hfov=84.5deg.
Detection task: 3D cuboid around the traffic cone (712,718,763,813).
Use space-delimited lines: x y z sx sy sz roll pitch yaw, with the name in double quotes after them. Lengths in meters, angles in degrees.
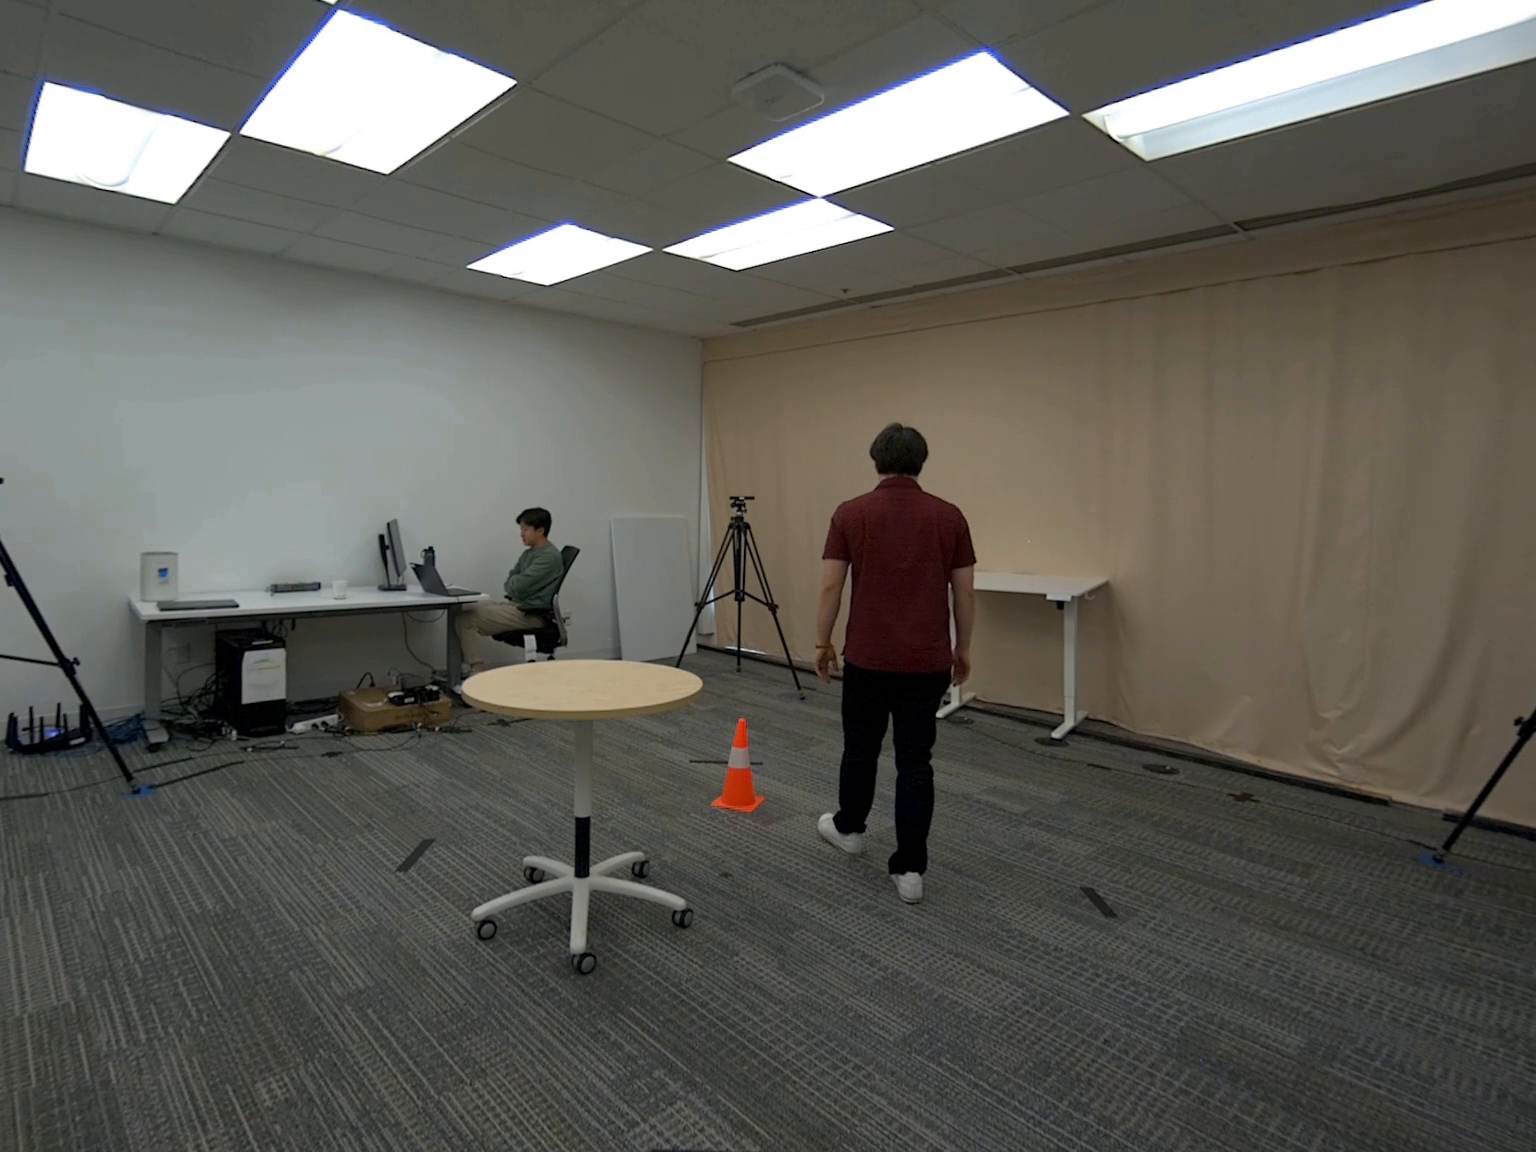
-0.144 0.852 3.872 0.209 0.383 0.200 3 2 24 "traffic cone"
